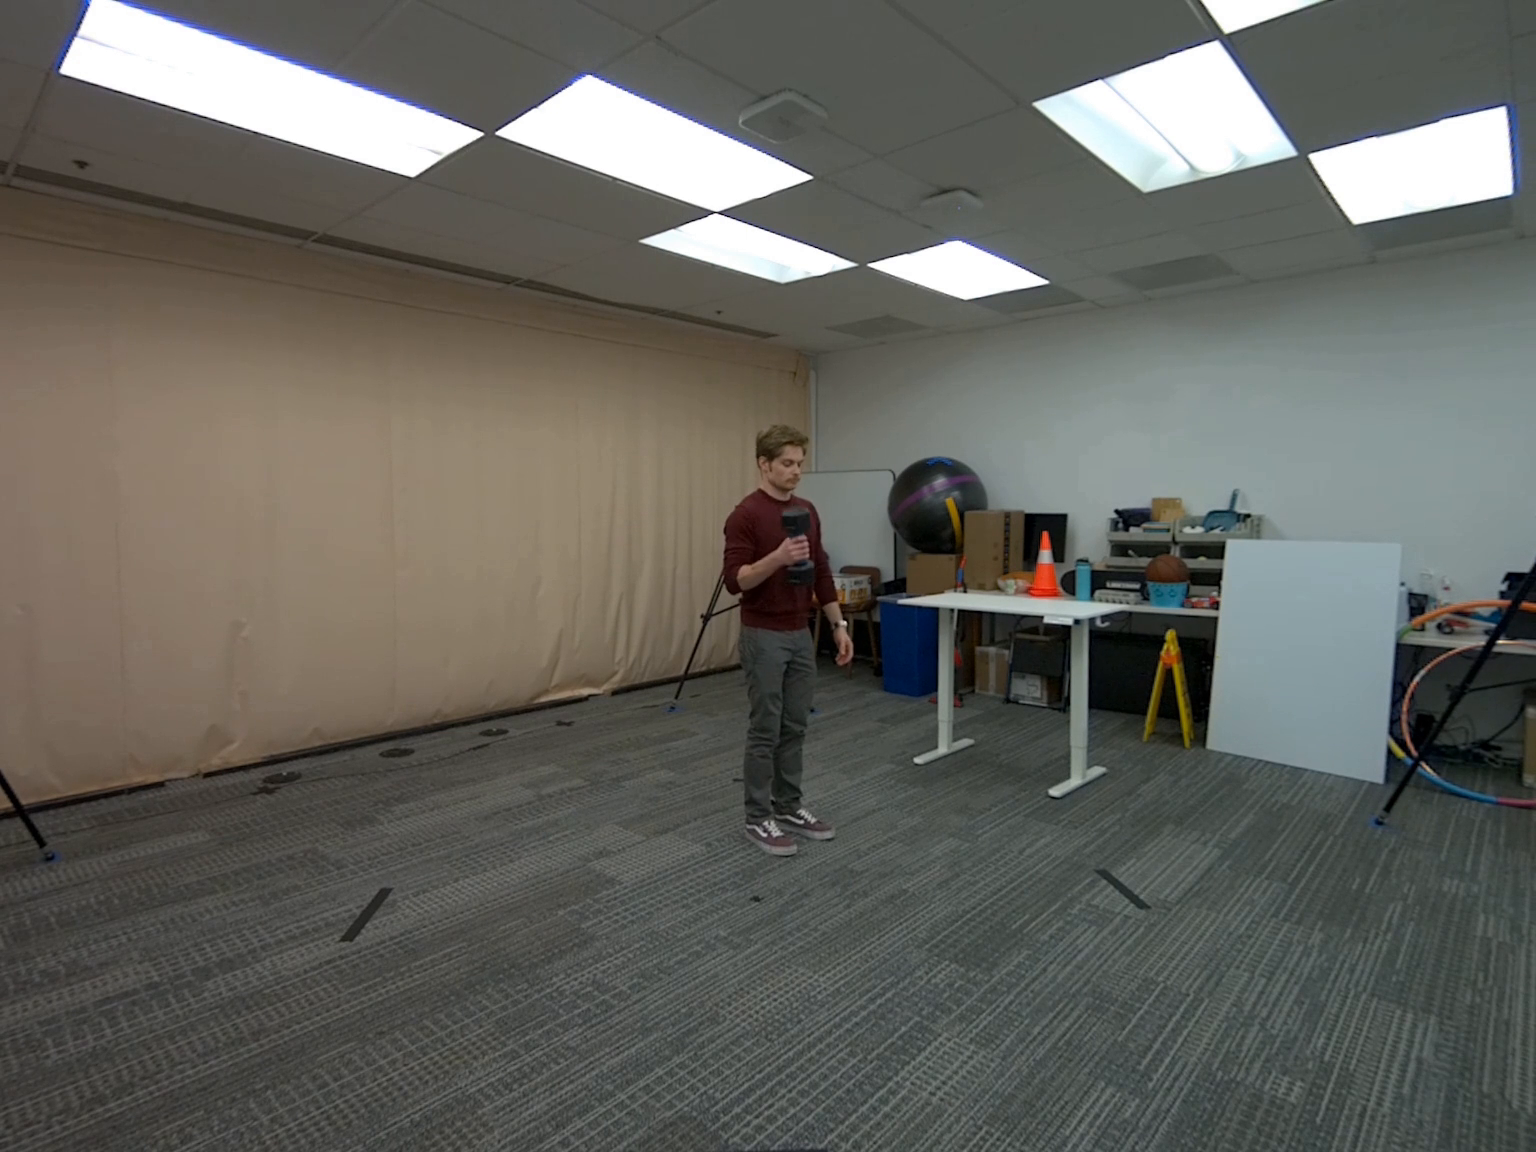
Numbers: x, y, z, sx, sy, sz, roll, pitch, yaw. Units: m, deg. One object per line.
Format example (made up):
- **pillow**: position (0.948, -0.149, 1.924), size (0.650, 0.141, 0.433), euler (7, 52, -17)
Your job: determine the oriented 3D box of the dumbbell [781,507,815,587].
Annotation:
- **dumbbell**: position (0.114, -0.101, 3.215), size (0.126, 0.290, 0.107), euler (5, 20, 29)
